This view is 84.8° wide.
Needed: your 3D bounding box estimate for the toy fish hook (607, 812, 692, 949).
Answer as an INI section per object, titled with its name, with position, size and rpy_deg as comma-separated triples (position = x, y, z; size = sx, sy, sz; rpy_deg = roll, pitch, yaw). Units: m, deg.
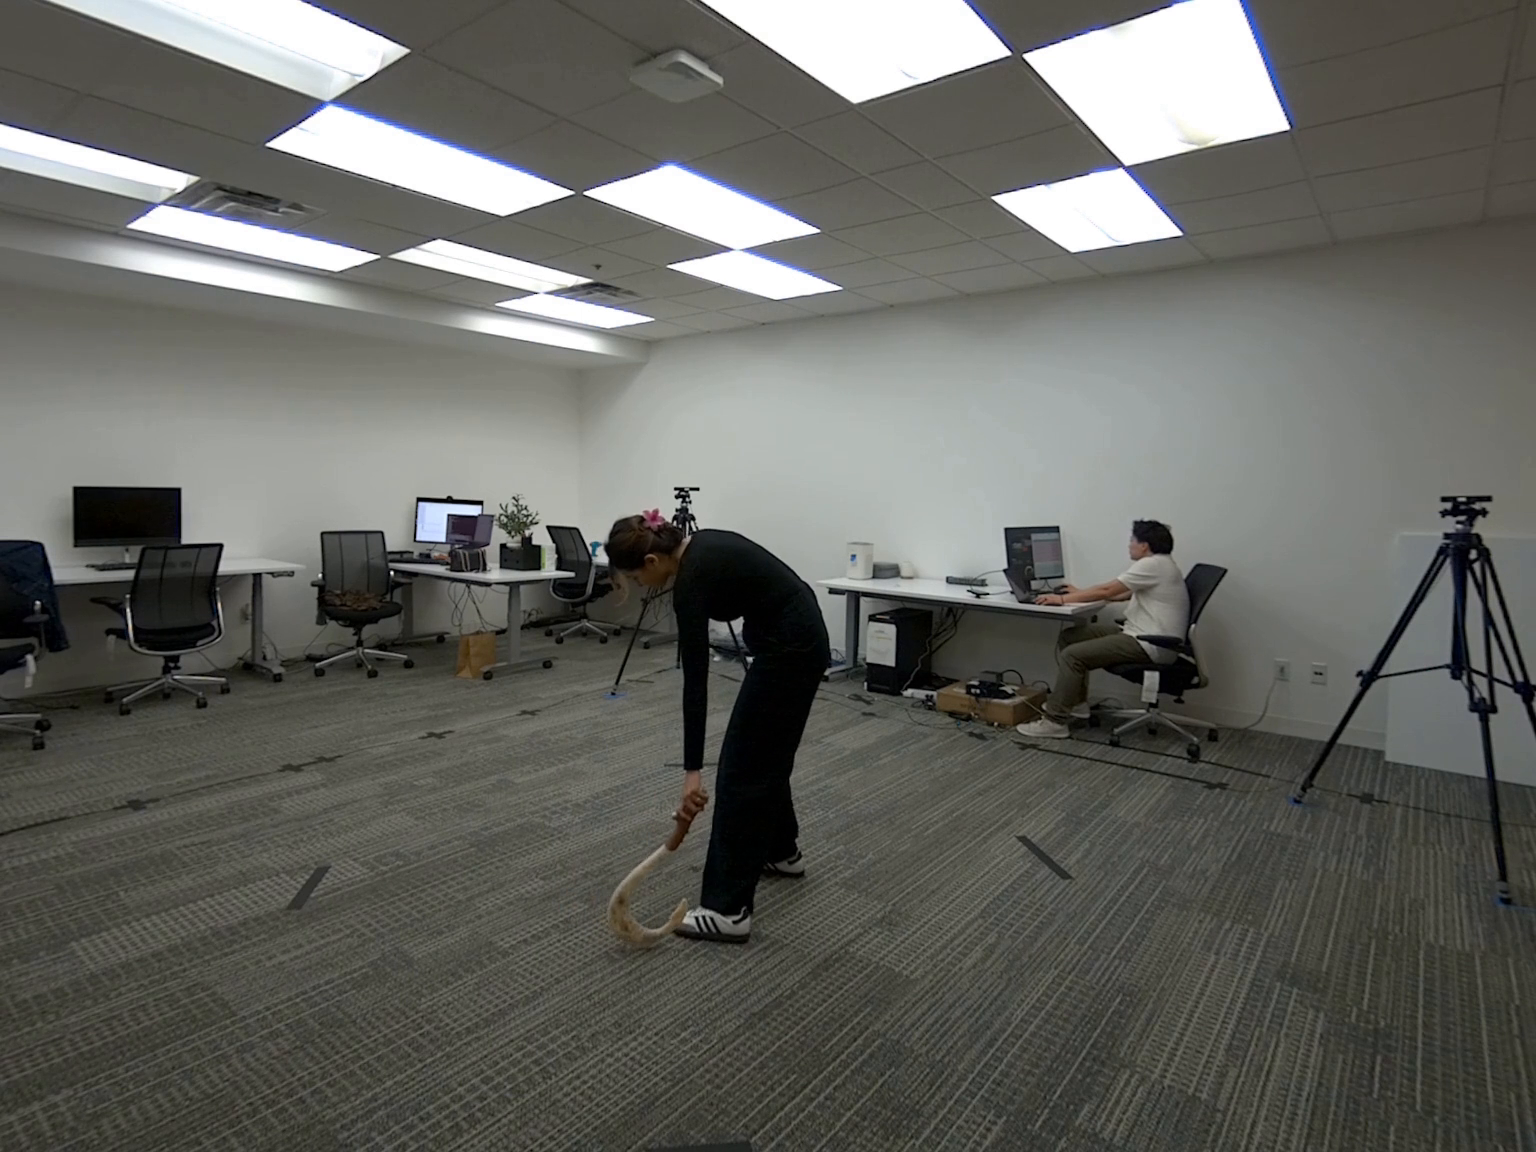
[toy fish hook]
position = -0.302, 0.883, 2.567
size = 0.221, 0.506, 0.049
rpy_deg = 31, 1, -11
